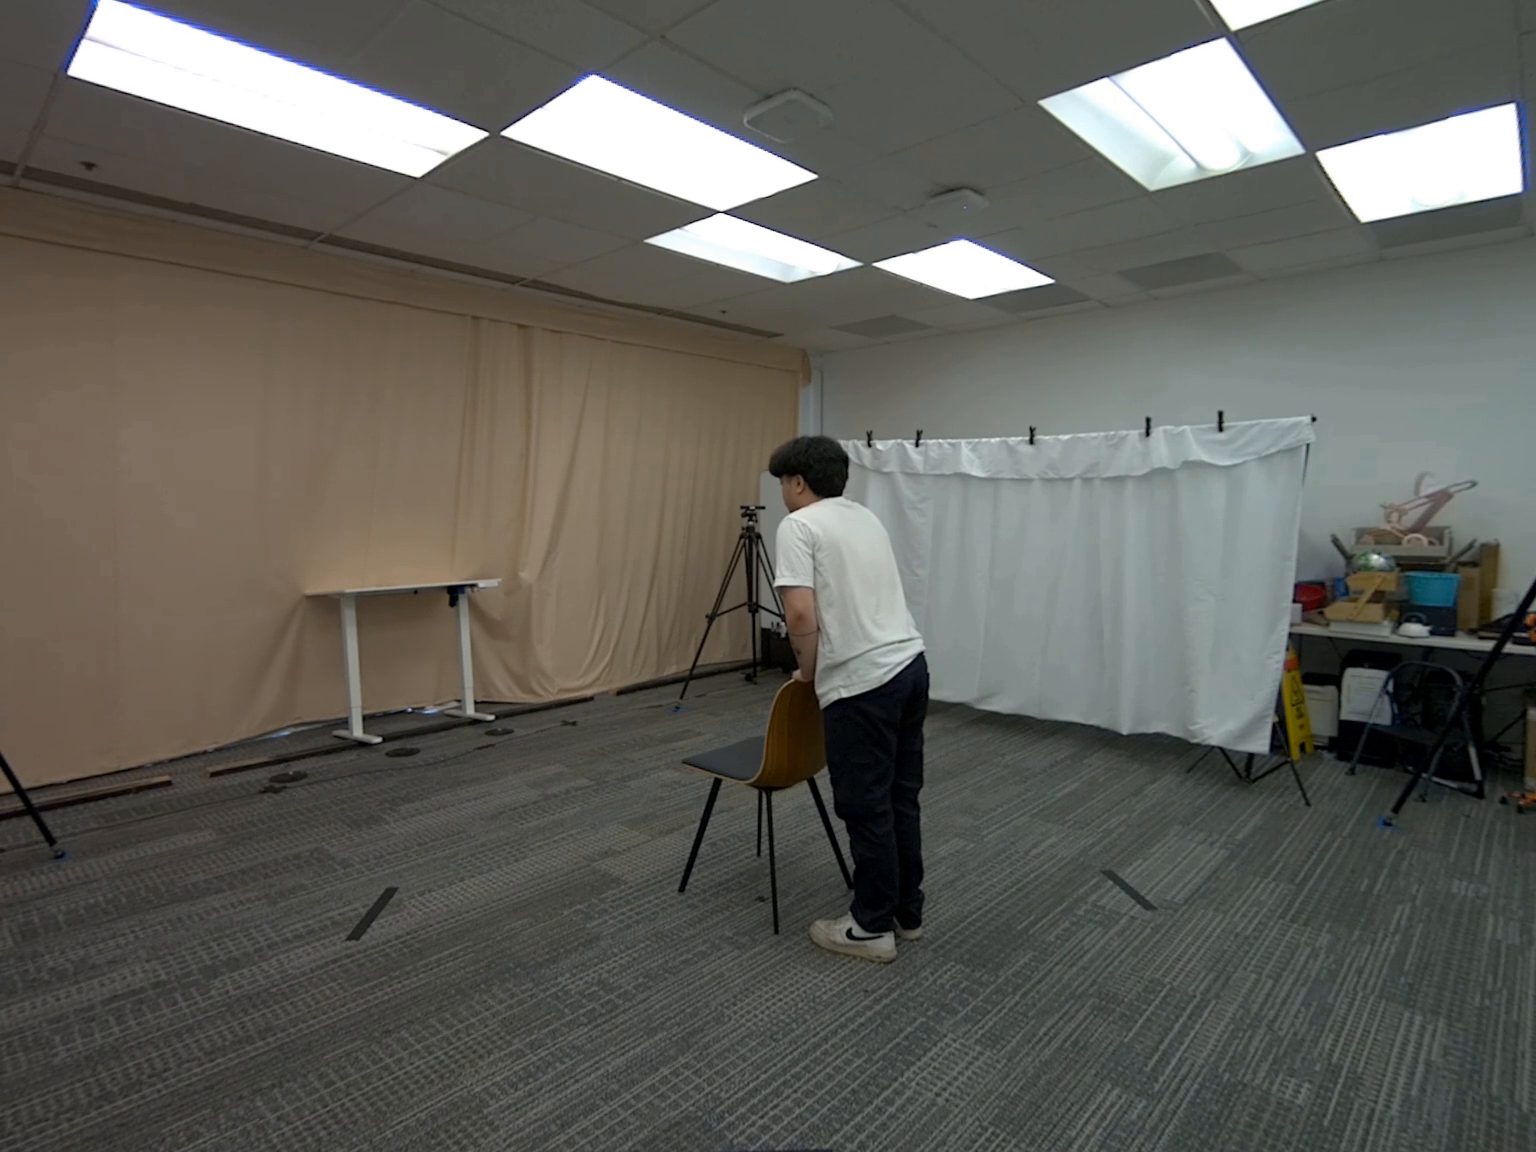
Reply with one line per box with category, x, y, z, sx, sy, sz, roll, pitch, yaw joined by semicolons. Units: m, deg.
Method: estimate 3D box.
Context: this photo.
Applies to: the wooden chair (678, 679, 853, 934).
wooden chair;-0.010;0.716;3.024;0.541;0.874;0.463;9;9;41
